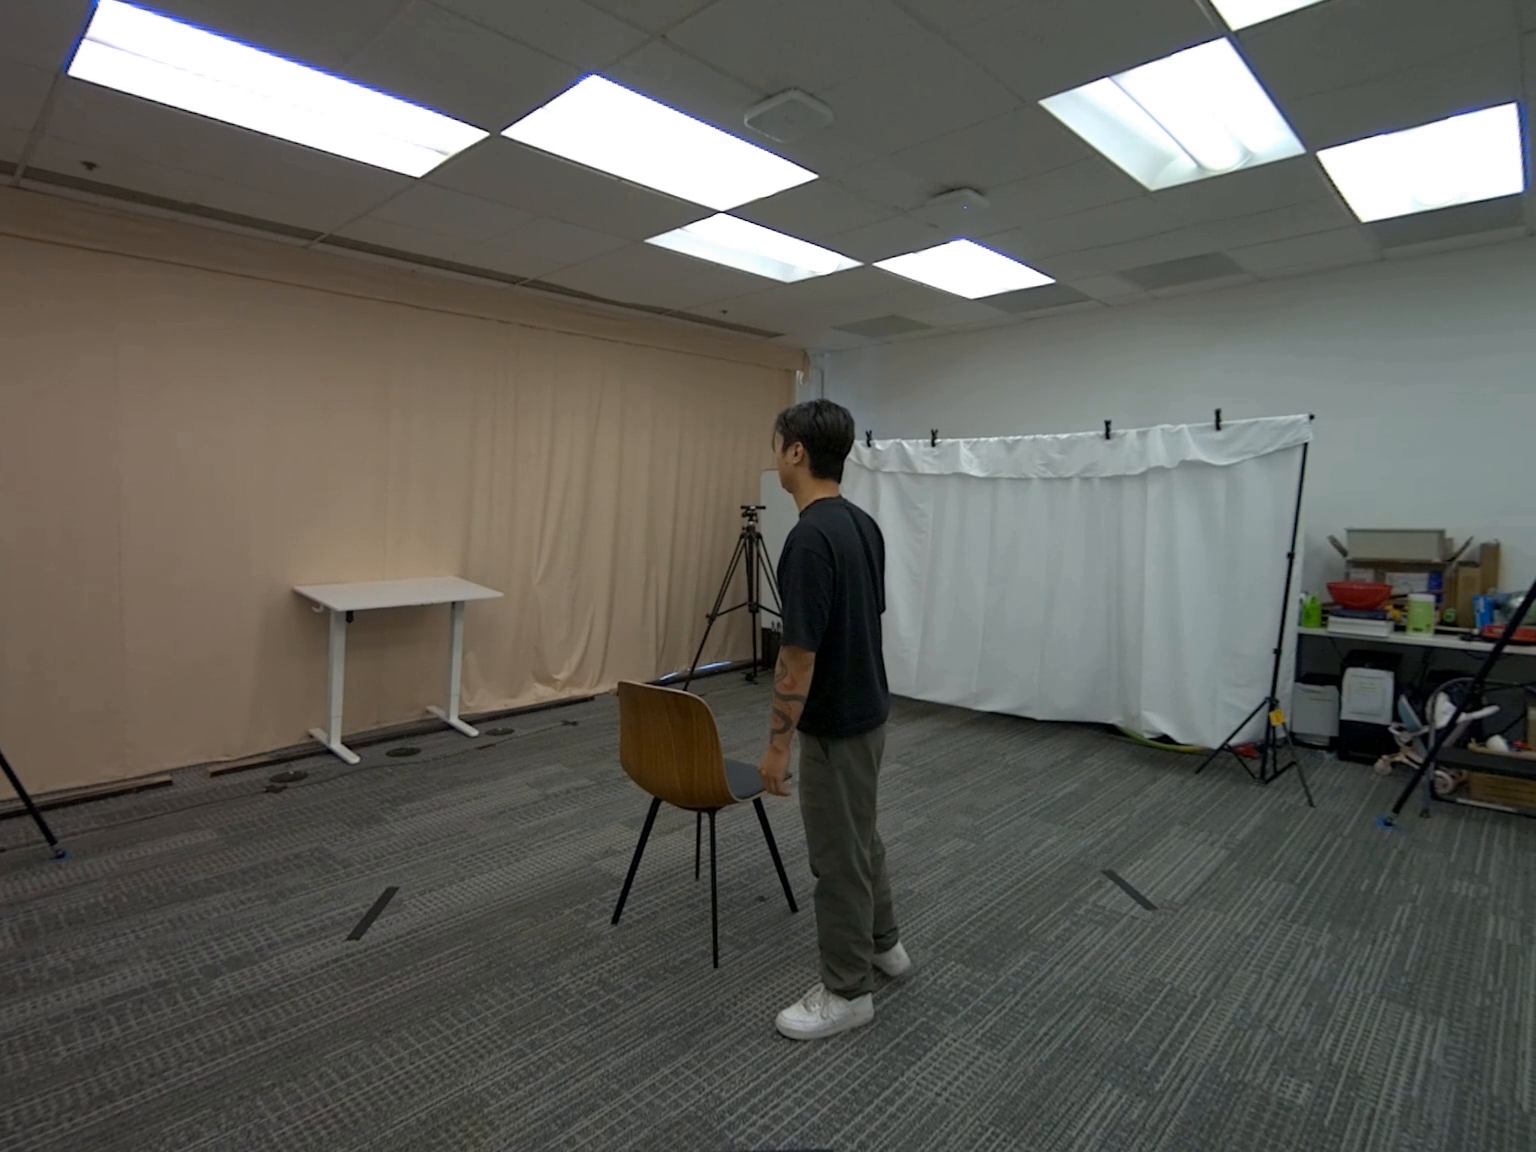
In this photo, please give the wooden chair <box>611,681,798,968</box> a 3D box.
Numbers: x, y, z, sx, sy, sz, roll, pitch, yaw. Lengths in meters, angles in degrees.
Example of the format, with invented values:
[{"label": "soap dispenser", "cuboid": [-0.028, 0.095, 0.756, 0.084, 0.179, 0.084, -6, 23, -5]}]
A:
[{"label": "wooden chair", "cuboid": [-0.206, 0.730, 2.826, 0.493, 0.873, 0.509, 2, 8, 36]}]
